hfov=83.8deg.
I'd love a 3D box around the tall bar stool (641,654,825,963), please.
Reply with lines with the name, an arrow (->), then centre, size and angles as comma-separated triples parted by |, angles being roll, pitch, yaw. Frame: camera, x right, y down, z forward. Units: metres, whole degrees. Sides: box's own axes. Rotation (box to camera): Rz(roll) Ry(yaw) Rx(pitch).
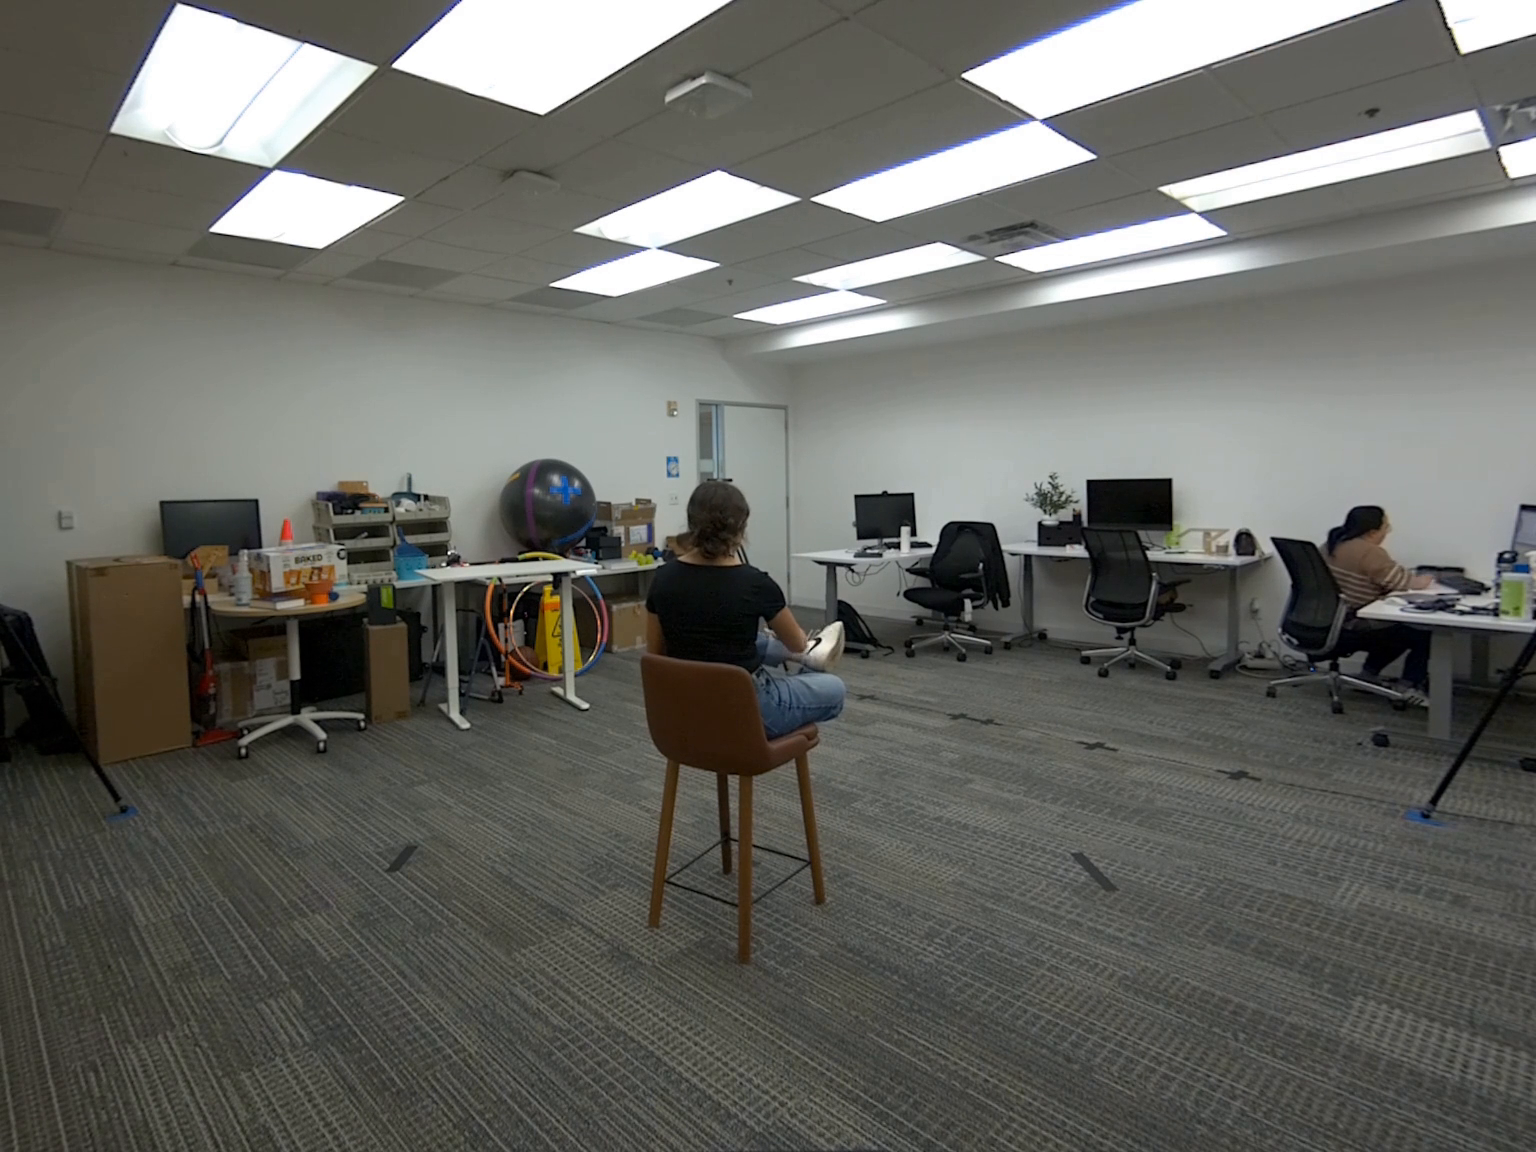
tall bar stool -> -0.113, 0.659, 2.719 | 0.470, 0.885, 0.457 | 2, 7, 35
